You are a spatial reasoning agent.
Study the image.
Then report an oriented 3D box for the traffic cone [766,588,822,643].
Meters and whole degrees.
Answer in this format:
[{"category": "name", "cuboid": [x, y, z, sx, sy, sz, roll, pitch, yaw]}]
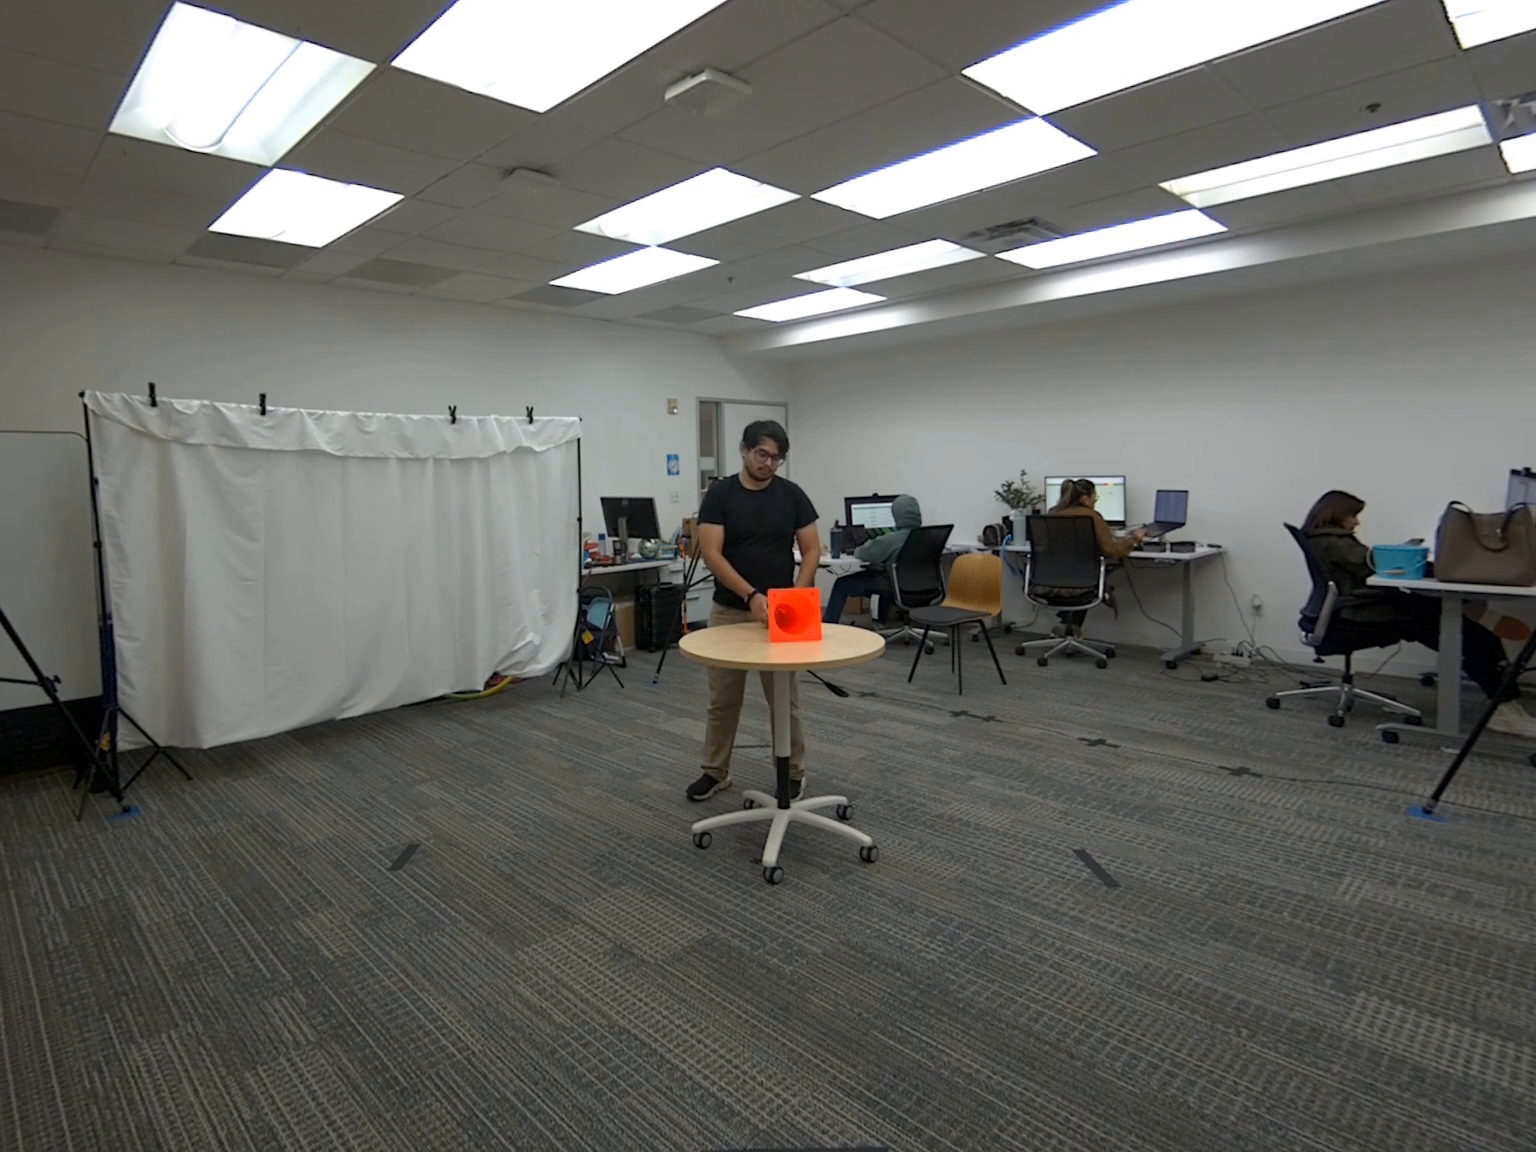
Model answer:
[{"category": "traffic cone", "cuboid": [0.058, 0.163, 3.359, 0.201, 0.206, 0.385, -6, -4, -11]}]
